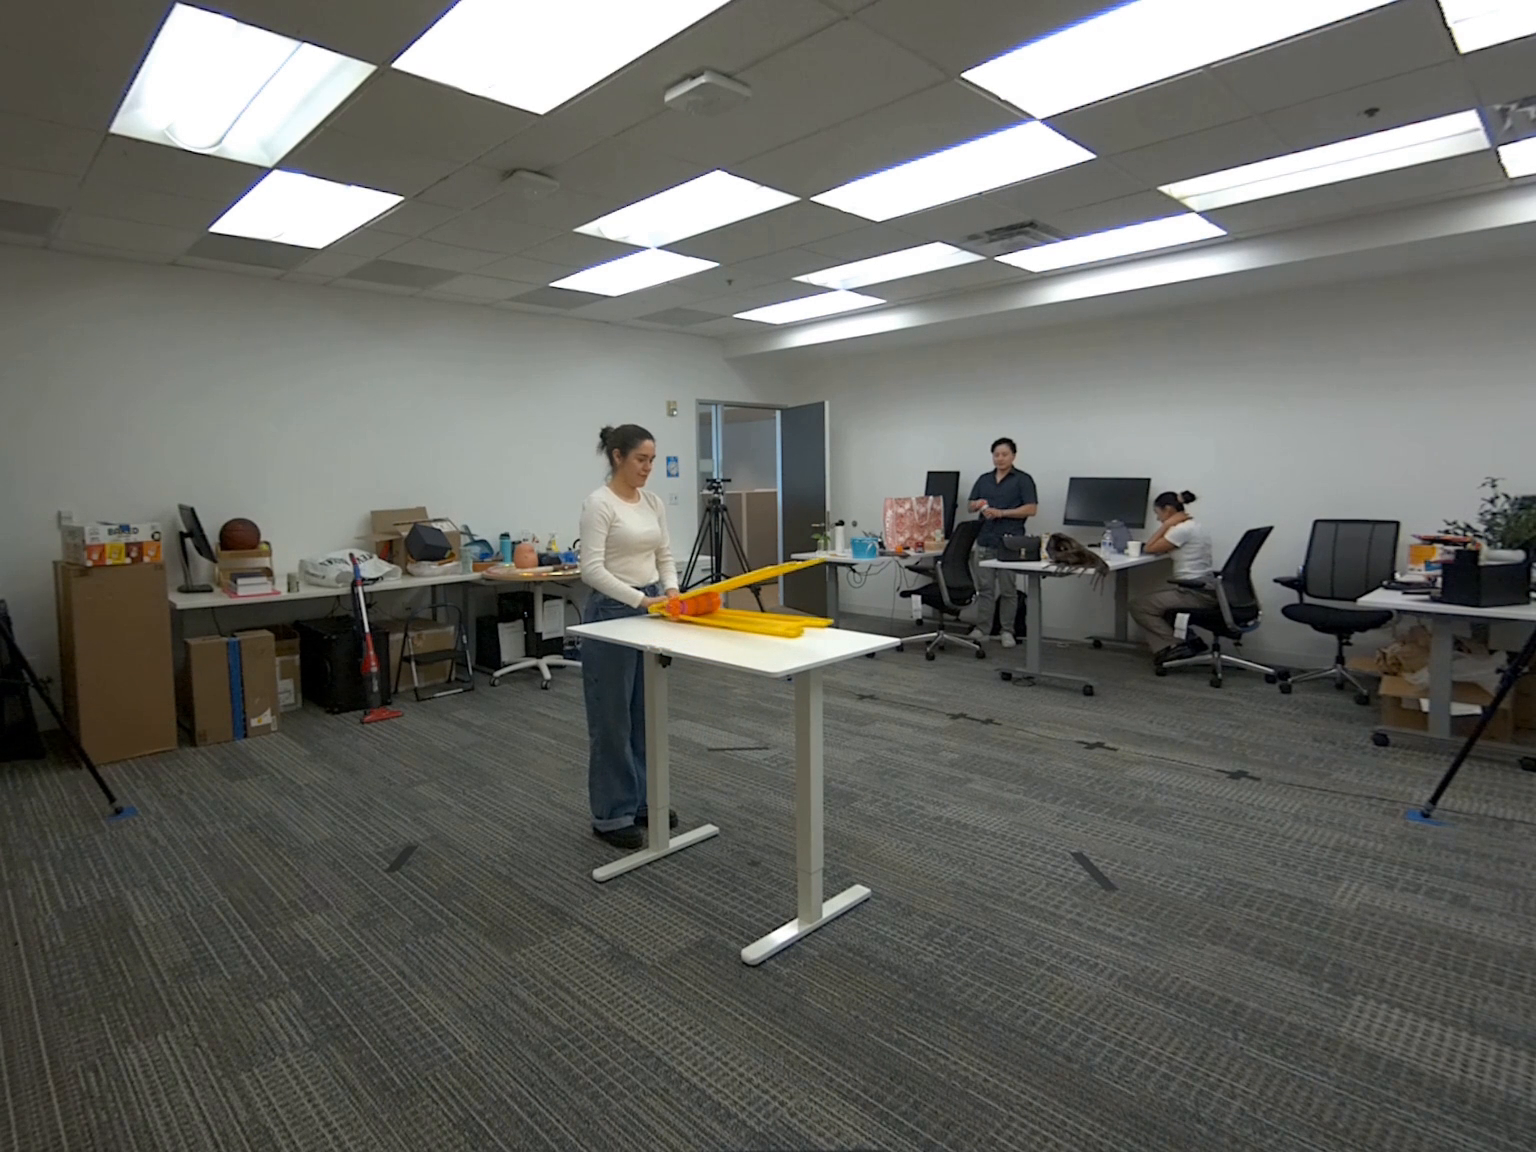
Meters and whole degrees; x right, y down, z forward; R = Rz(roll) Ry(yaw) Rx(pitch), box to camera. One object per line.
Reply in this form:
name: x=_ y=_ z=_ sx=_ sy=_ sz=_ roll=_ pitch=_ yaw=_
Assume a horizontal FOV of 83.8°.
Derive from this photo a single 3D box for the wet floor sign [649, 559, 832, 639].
wet floor sign: x=-0.136 y=0.102 z=3.055 sx=0.662 sy=0.290 sz=0.275 roll=-6 pitch=0 yaw=35
